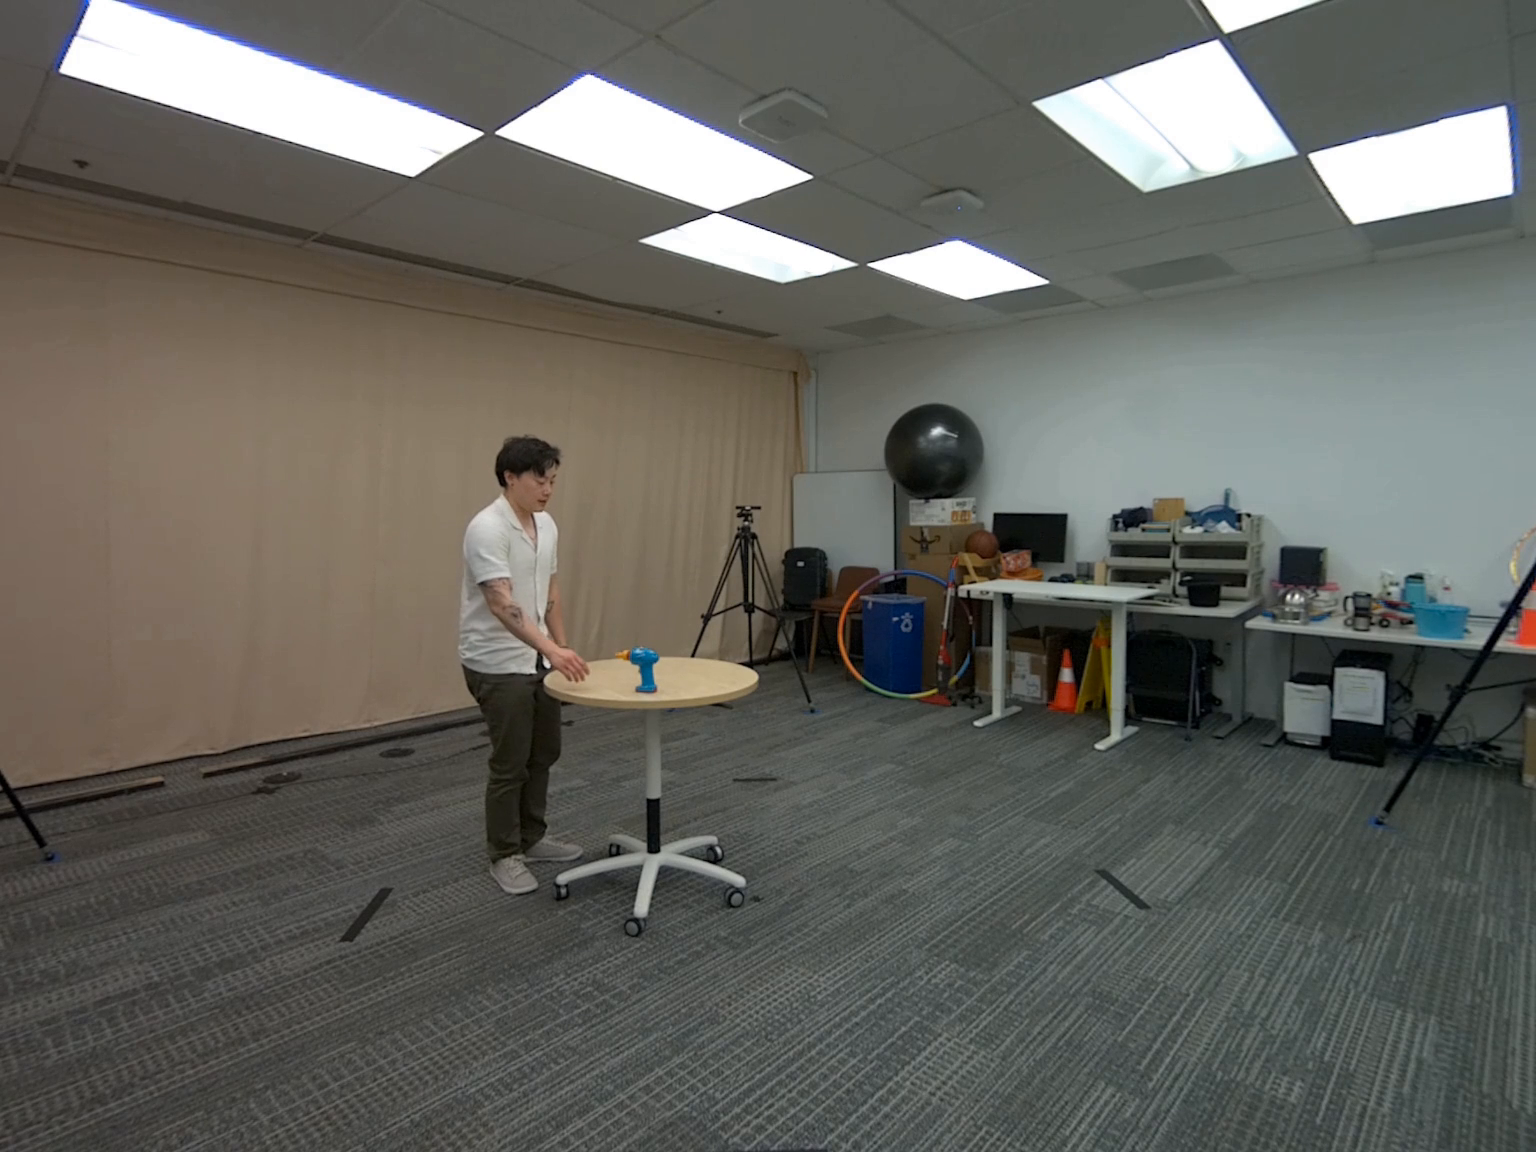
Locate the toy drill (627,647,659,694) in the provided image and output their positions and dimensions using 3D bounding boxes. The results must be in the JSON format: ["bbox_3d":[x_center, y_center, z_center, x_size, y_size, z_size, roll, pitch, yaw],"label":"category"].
[{"bbox_3d":[-0.439,0.305,2.781,0.172,0.146,0.060,1,4,15],"label":"toy drill"}]
